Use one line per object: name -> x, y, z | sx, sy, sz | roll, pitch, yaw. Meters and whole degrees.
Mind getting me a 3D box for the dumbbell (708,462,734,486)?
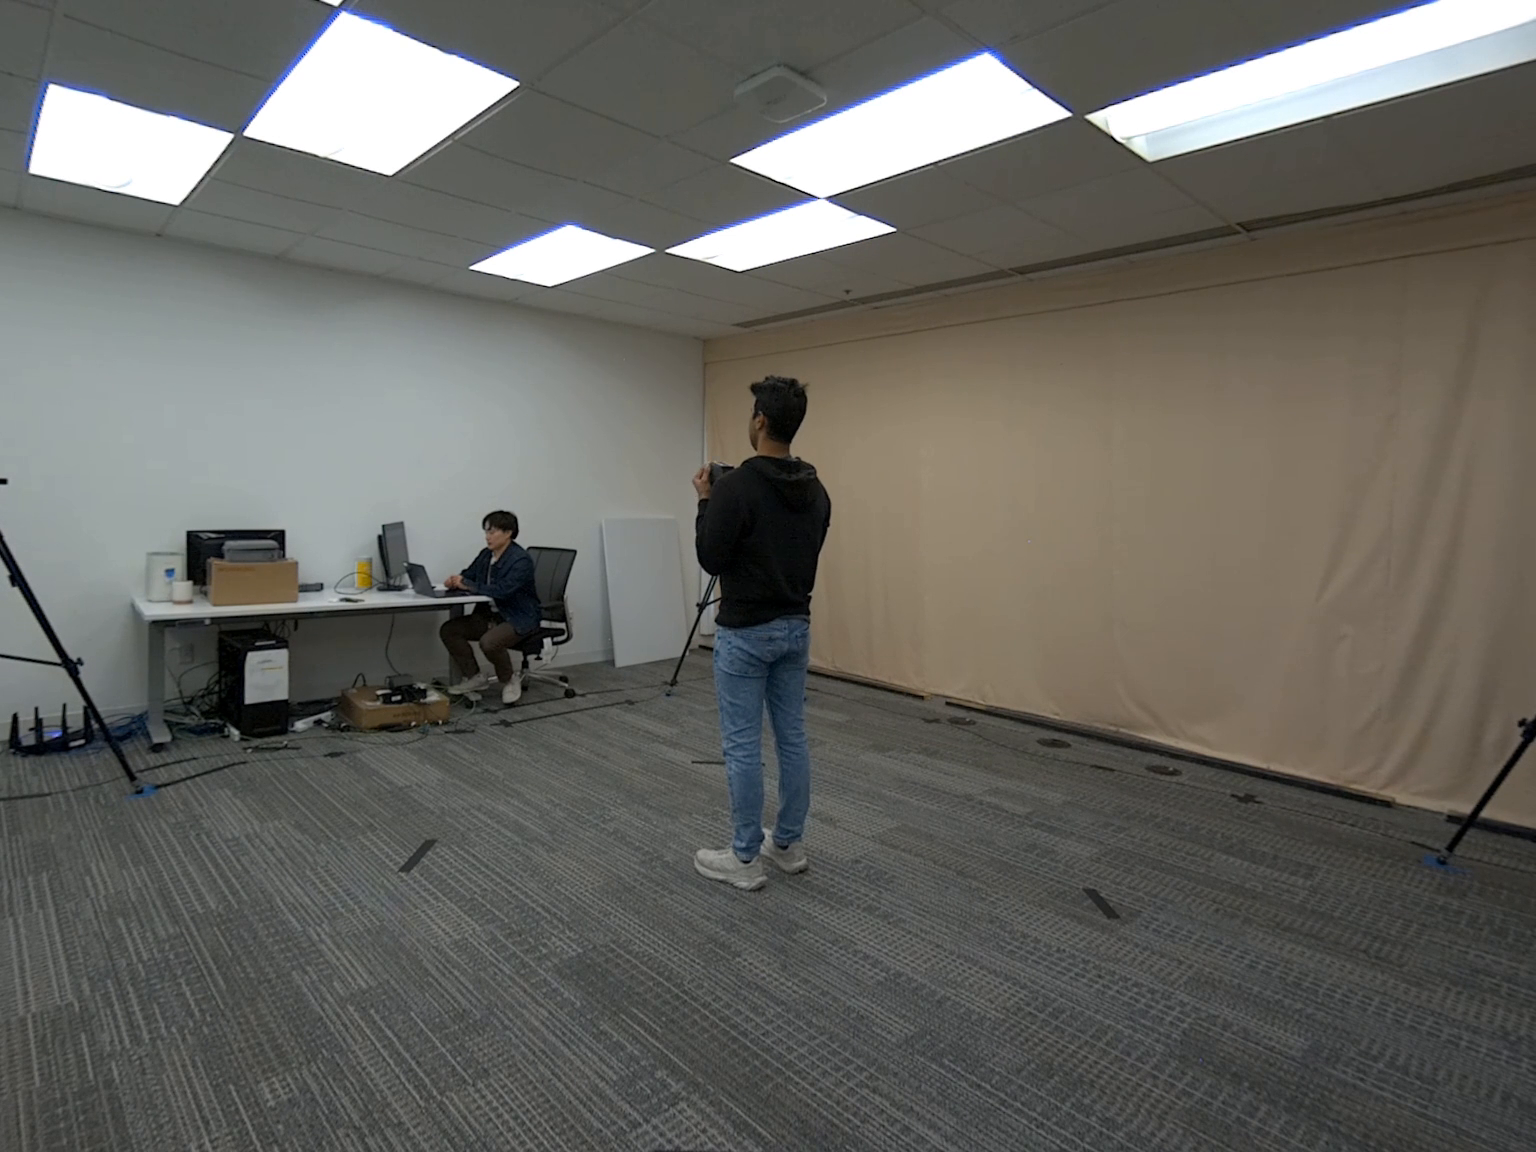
dumbbell -> -0.089, -0.355, 3.167 | 0.287, 0.108, 0.127 | -4, 23, -42
